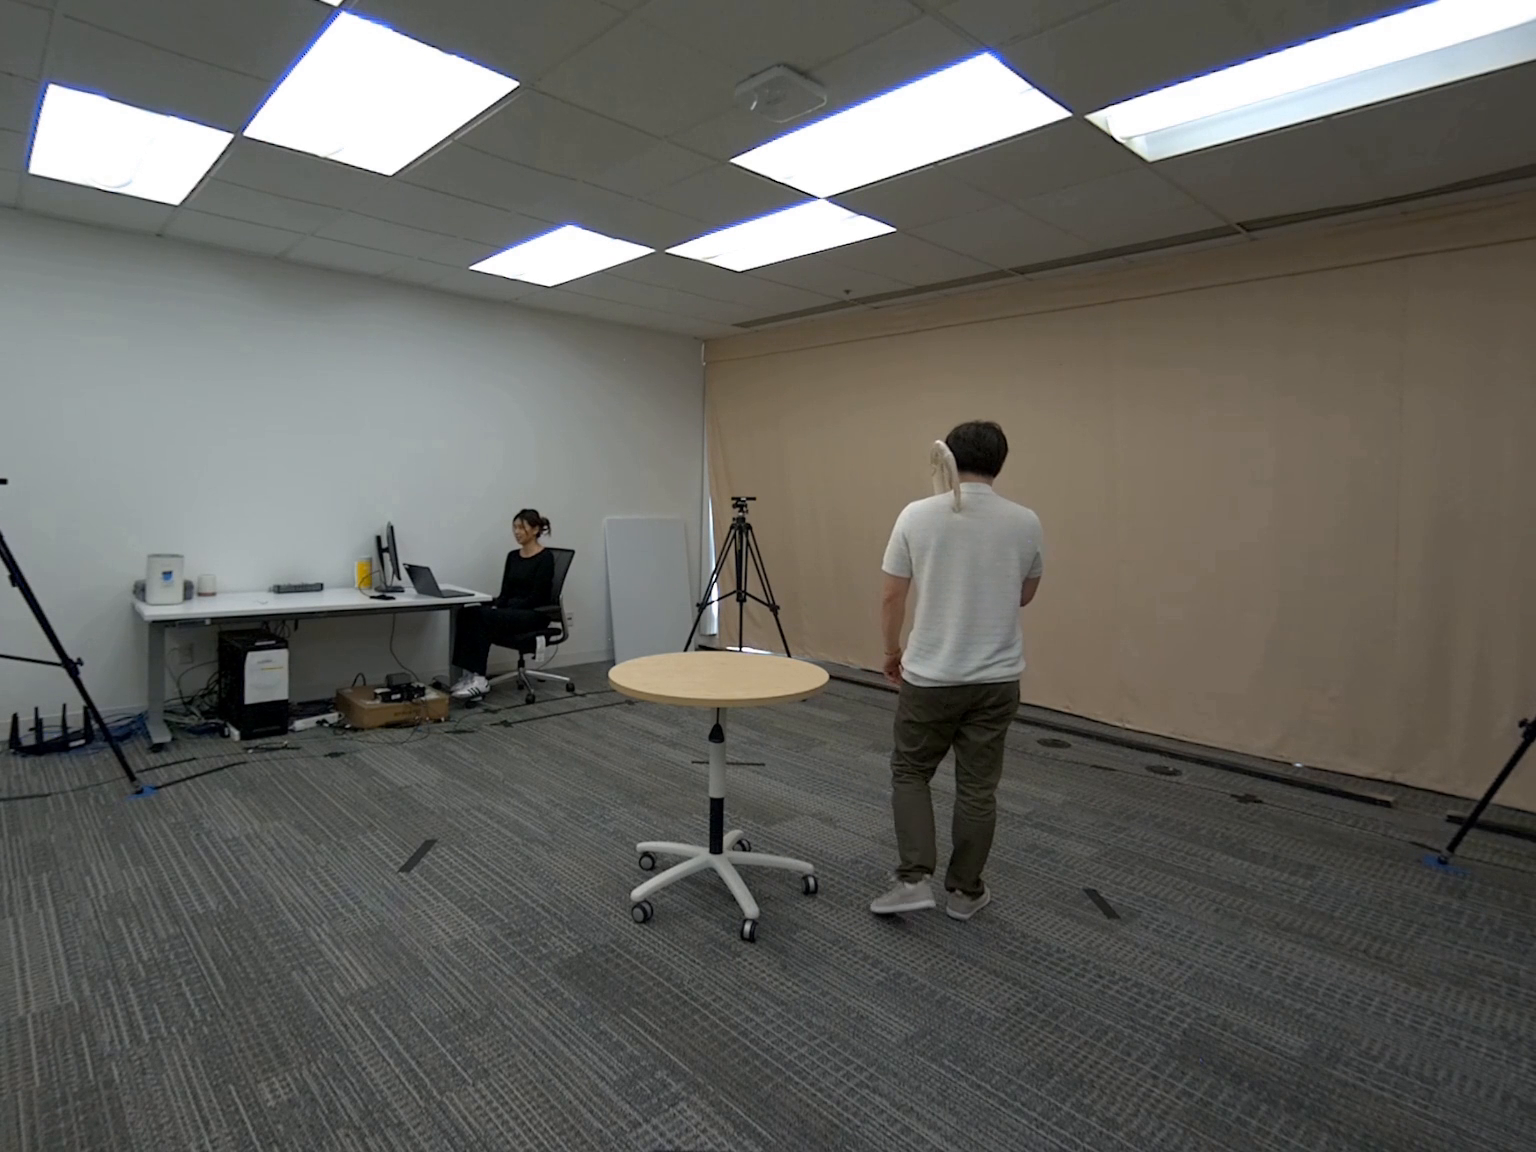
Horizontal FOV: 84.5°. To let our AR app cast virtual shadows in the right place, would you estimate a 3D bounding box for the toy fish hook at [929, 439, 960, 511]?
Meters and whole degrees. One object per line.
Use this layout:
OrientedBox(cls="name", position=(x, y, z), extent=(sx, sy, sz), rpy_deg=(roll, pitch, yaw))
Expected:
OrientedBox(cls="toy fish hook", position=(0.597, -0.214, 2.821), extent=(0.048, 0.494, 0.230), rpy_deg=(-11, 36, 2))
